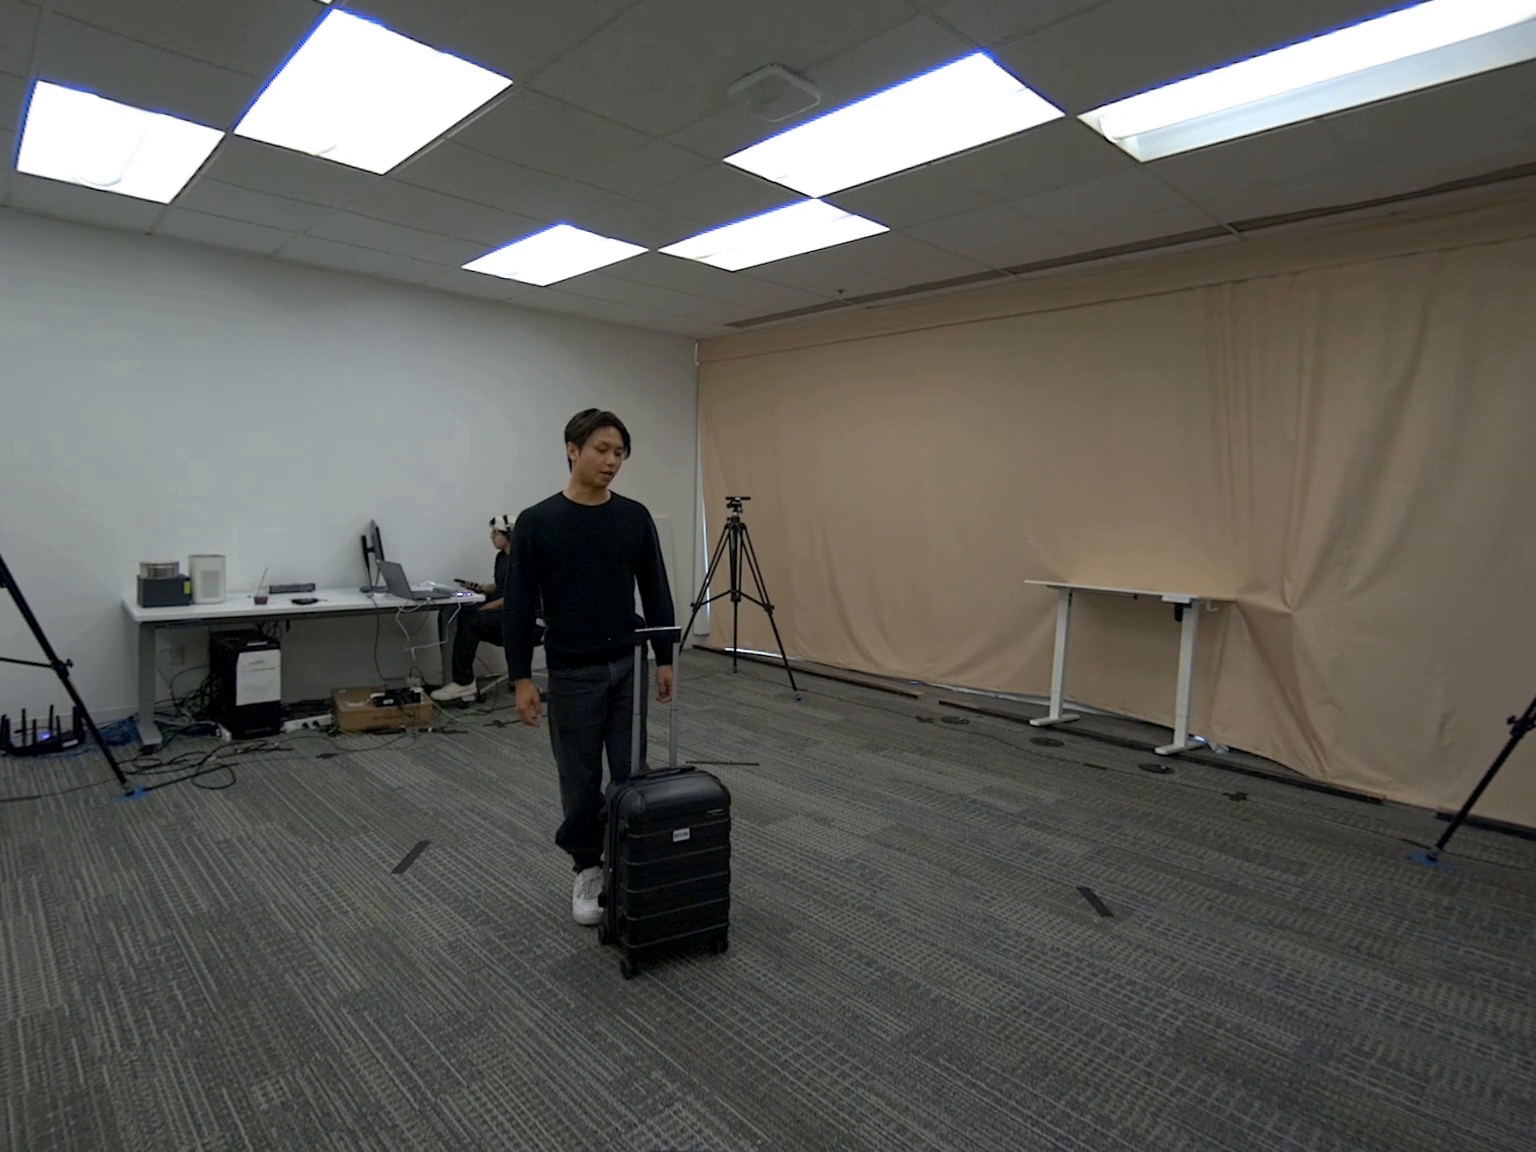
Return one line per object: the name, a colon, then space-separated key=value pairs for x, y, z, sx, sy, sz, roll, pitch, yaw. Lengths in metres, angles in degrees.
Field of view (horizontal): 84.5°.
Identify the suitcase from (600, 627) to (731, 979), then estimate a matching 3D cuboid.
suitcase: x=-0.297 y=0.679 z=2.539 sx=0.376 sy=0.974 sz=0.263 roll=1 pitch=7 yaw=-27
